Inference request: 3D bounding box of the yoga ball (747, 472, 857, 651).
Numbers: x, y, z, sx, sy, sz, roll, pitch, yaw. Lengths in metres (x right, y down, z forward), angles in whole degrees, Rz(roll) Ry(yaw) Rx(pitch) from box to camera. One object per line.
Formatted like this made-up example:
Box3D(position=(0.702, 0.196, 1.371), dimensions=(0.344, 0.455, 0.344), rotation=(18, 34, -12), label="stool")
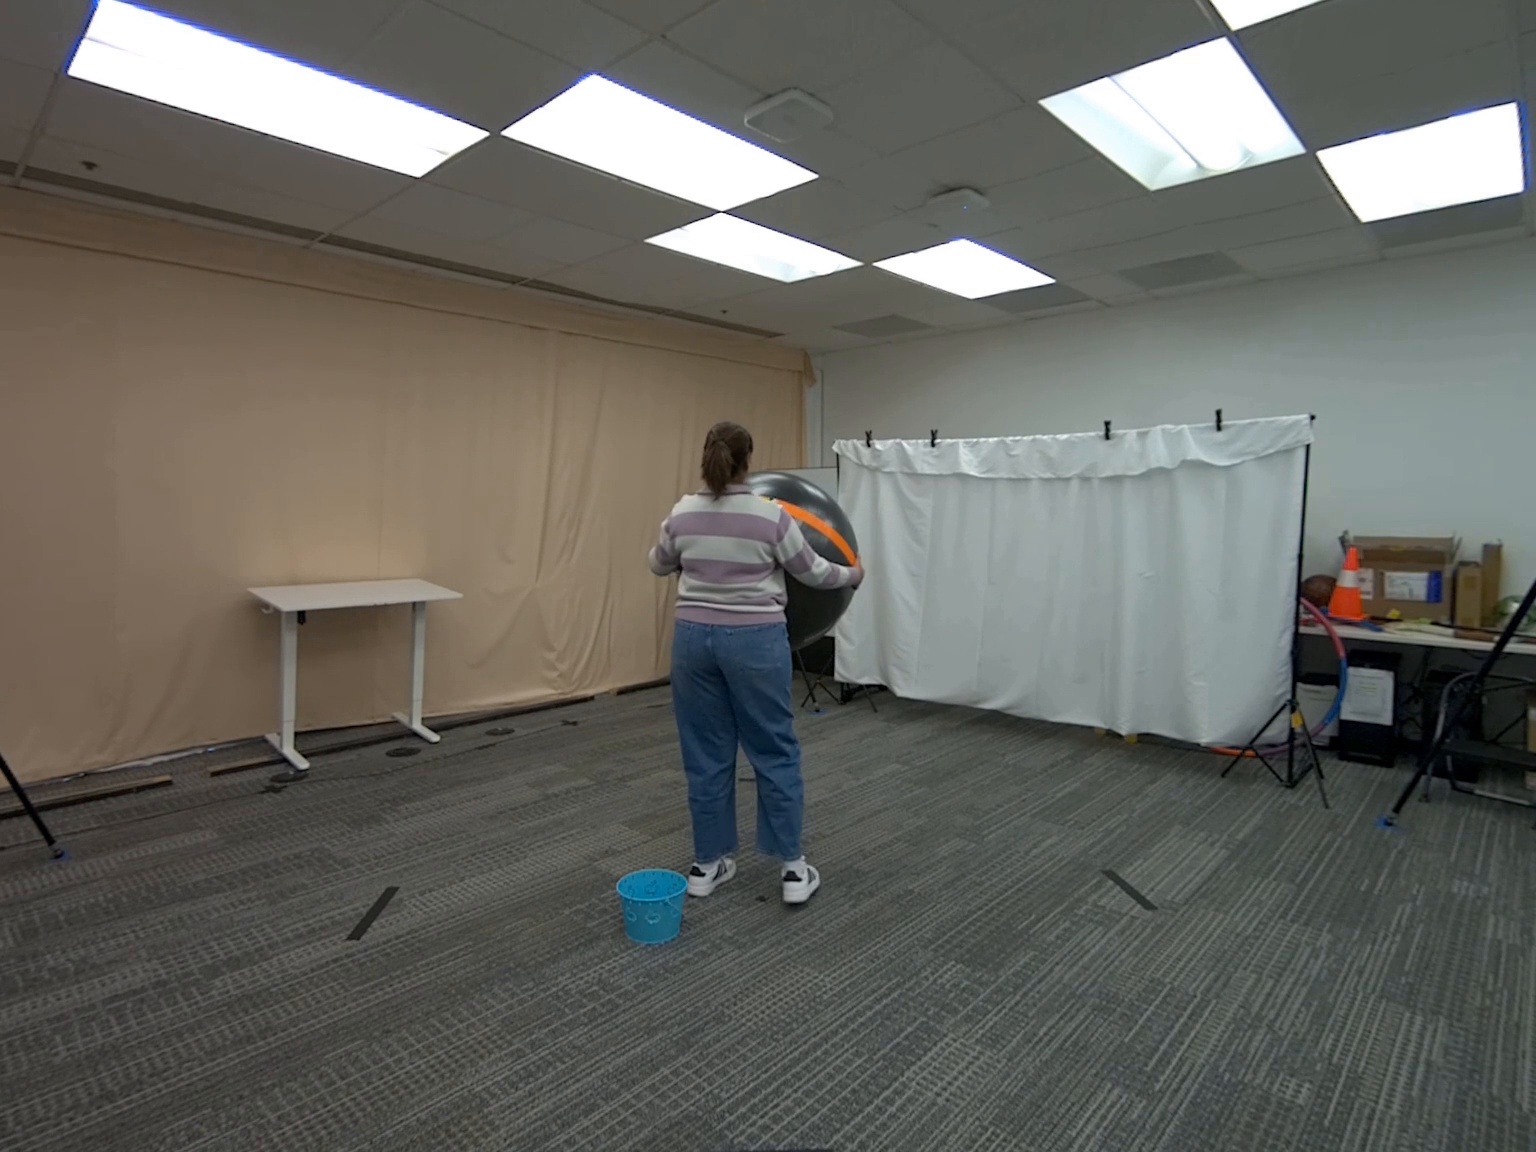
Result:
Box3D(position=(0.009, -0.050, 3.502), dimensions=(0.757, 0.756, 0.761), rotation=(0, 4, -2), label="yoga ball")
